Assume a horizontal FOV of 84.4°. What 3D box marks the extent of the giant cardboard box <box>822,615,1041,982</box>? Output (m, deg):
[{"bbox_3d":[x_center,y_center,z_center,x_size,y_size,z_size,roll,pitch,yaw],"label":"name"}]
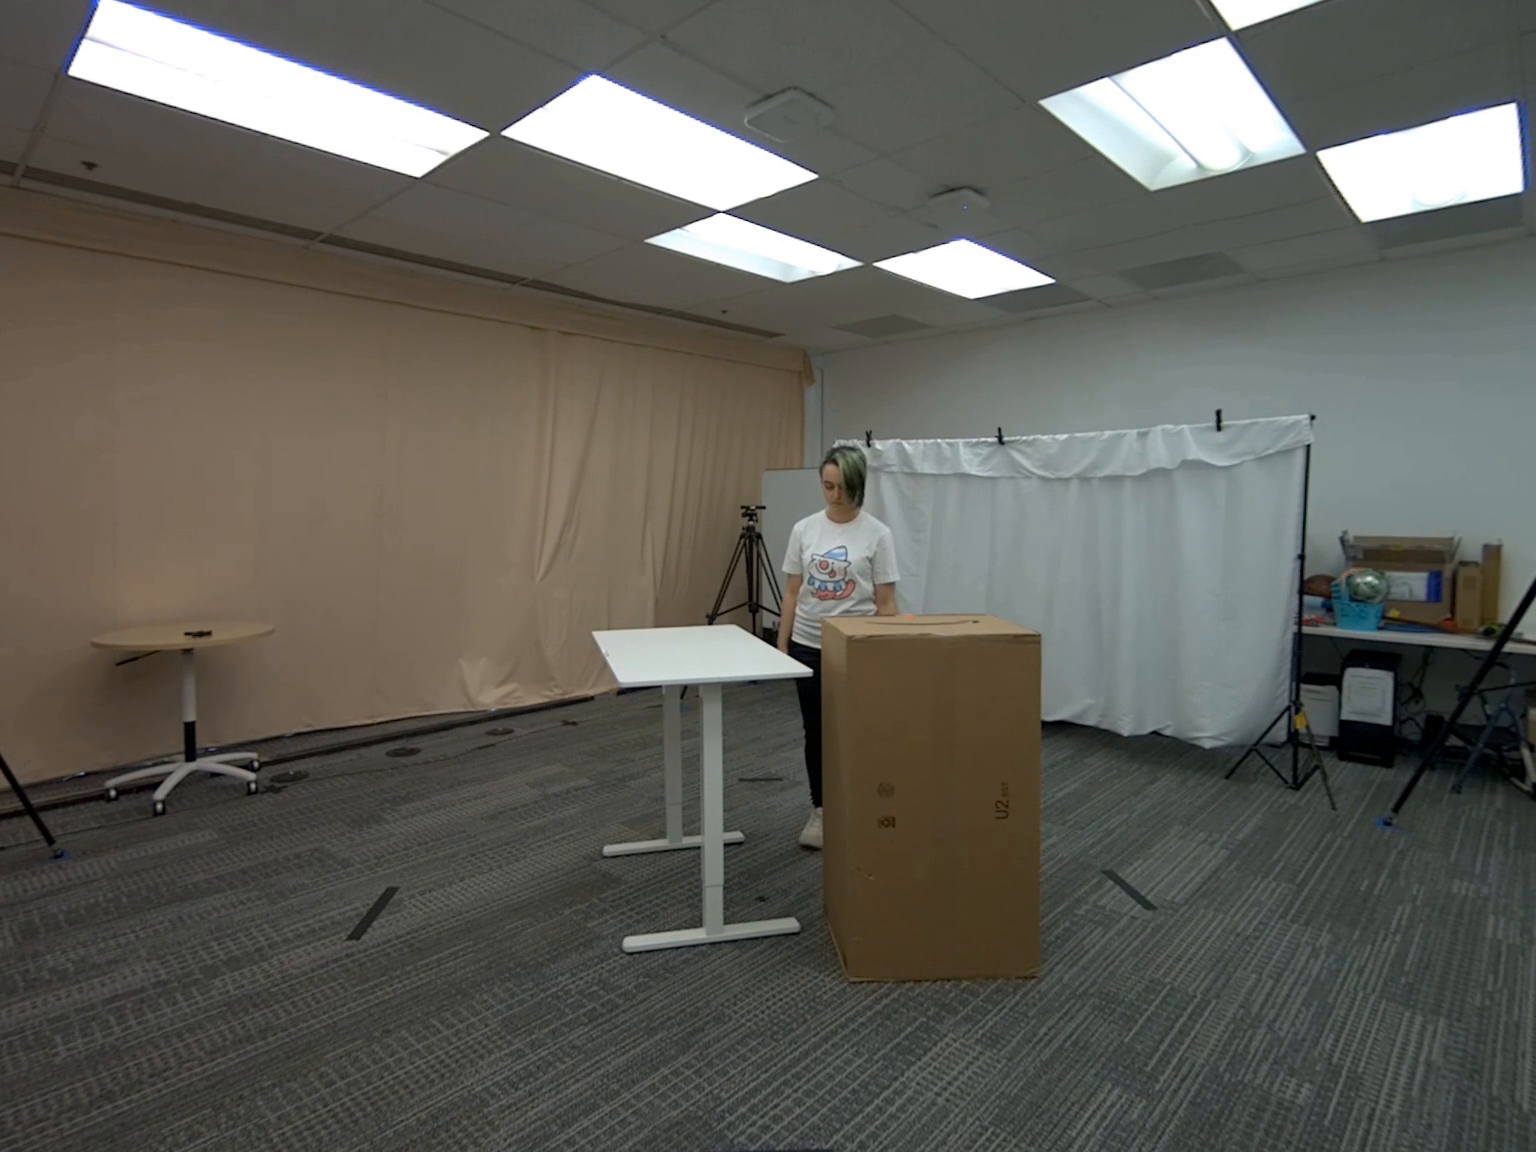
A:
[{"bbox_3d":[0.496,0.664,2.649,0.582,1.024,0.449,-1,4,-4],"label":"giant cardboard box"}]
